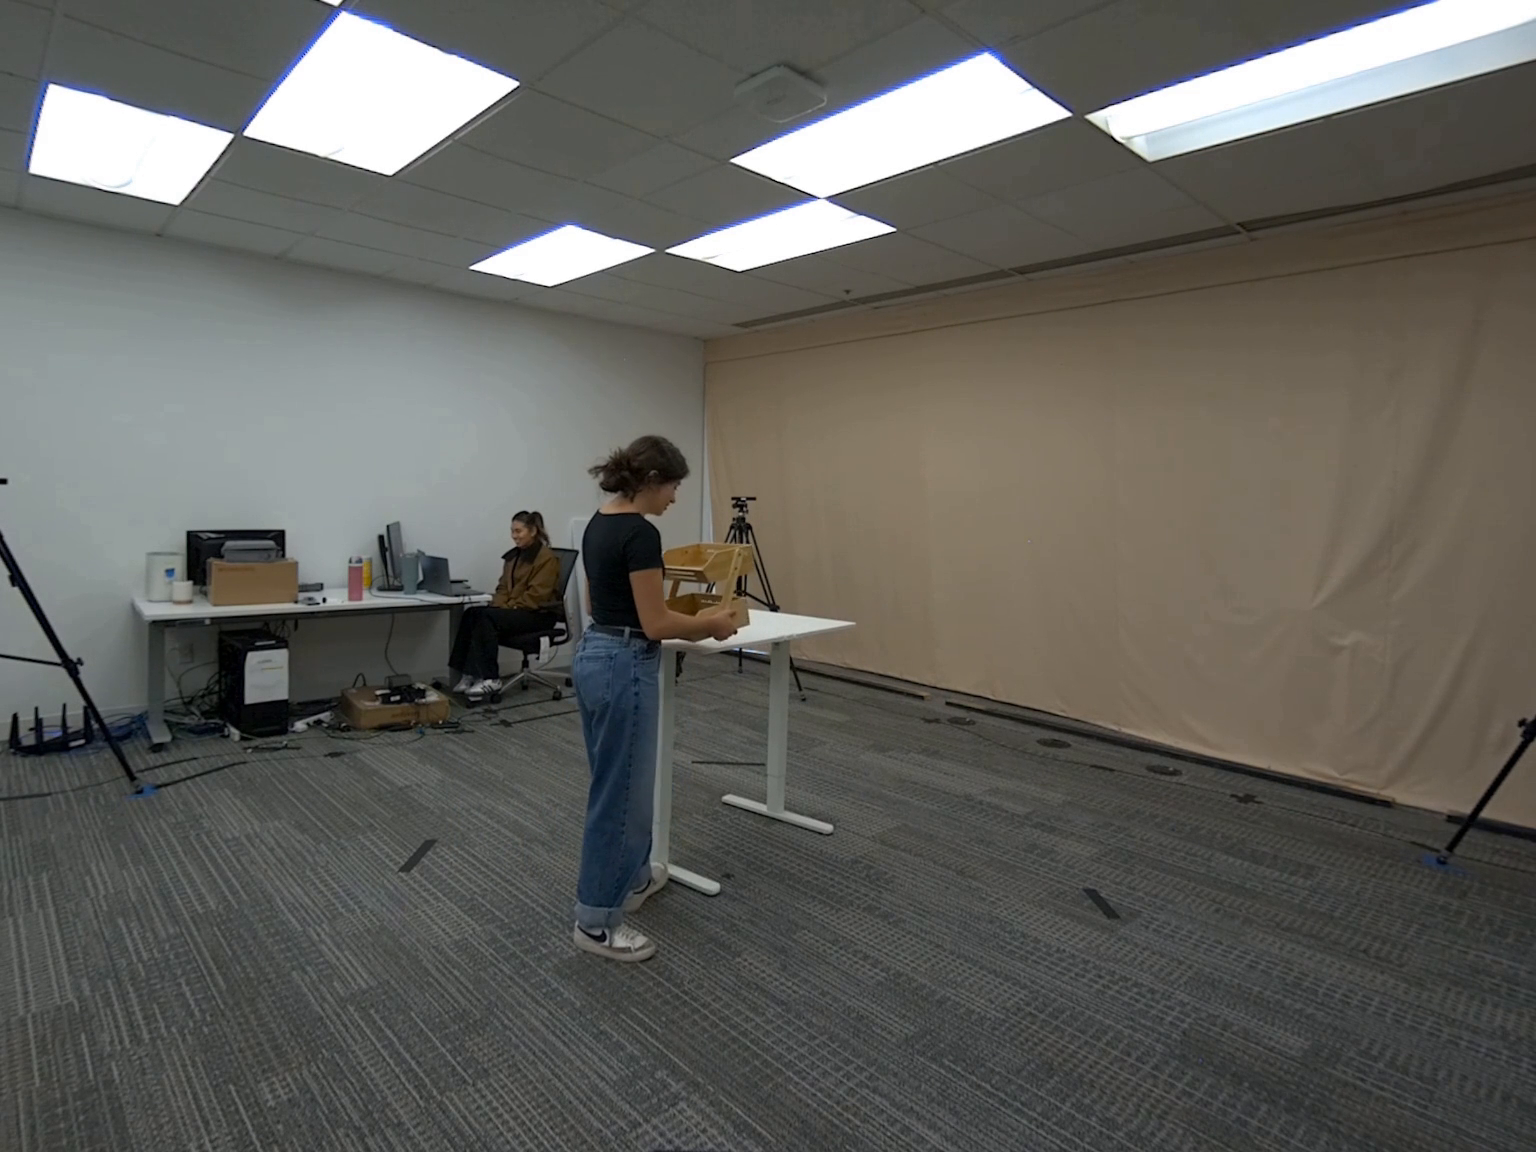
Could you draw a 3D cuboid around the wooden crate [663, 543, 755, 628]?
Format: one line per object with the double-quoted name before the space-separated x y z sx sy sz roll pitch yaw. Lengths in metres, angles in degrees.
"wooden crate" -0.254 0.044 2.795 0.297 0.271 0.332 -14 11 -38
